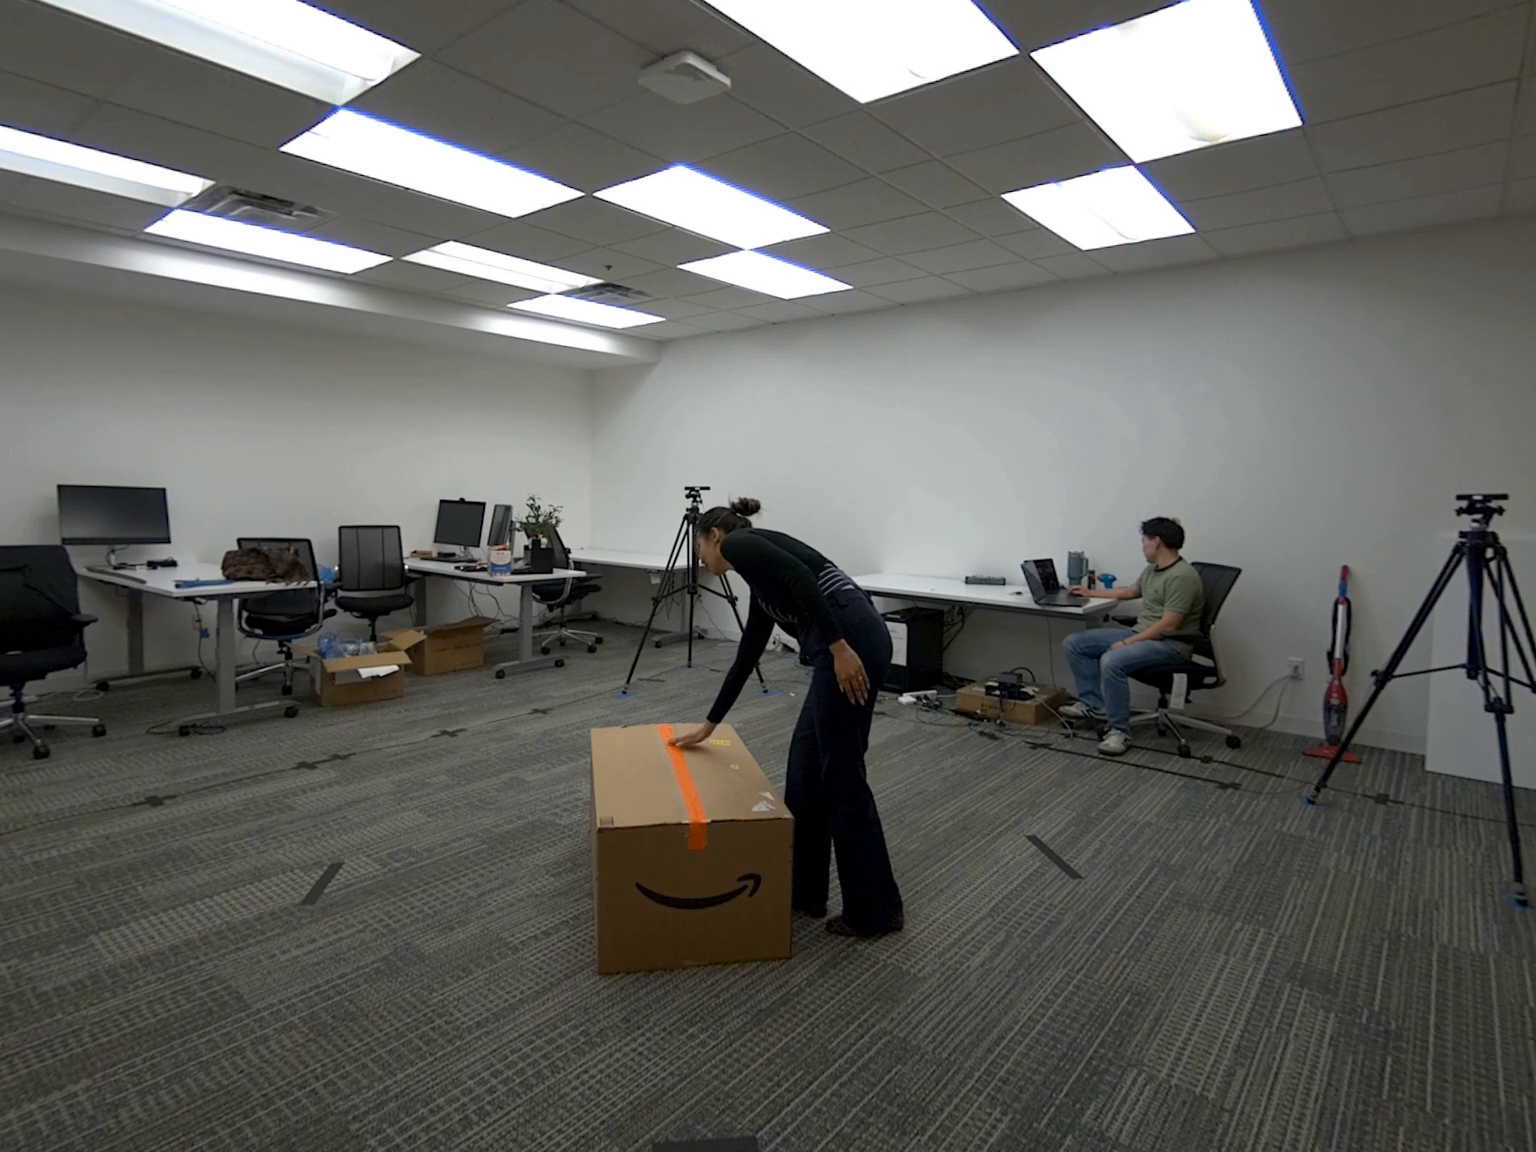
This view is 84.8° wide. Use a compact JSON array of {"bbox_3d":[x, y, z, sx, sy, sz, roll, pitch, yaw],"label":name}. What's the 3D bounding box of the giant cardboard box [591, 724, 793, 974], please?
[{"bbox_3d":[-0.331,0.859,2.952,0.570,0.424,1.043,0,5,-13],"label":"giant cardboard box"}]
